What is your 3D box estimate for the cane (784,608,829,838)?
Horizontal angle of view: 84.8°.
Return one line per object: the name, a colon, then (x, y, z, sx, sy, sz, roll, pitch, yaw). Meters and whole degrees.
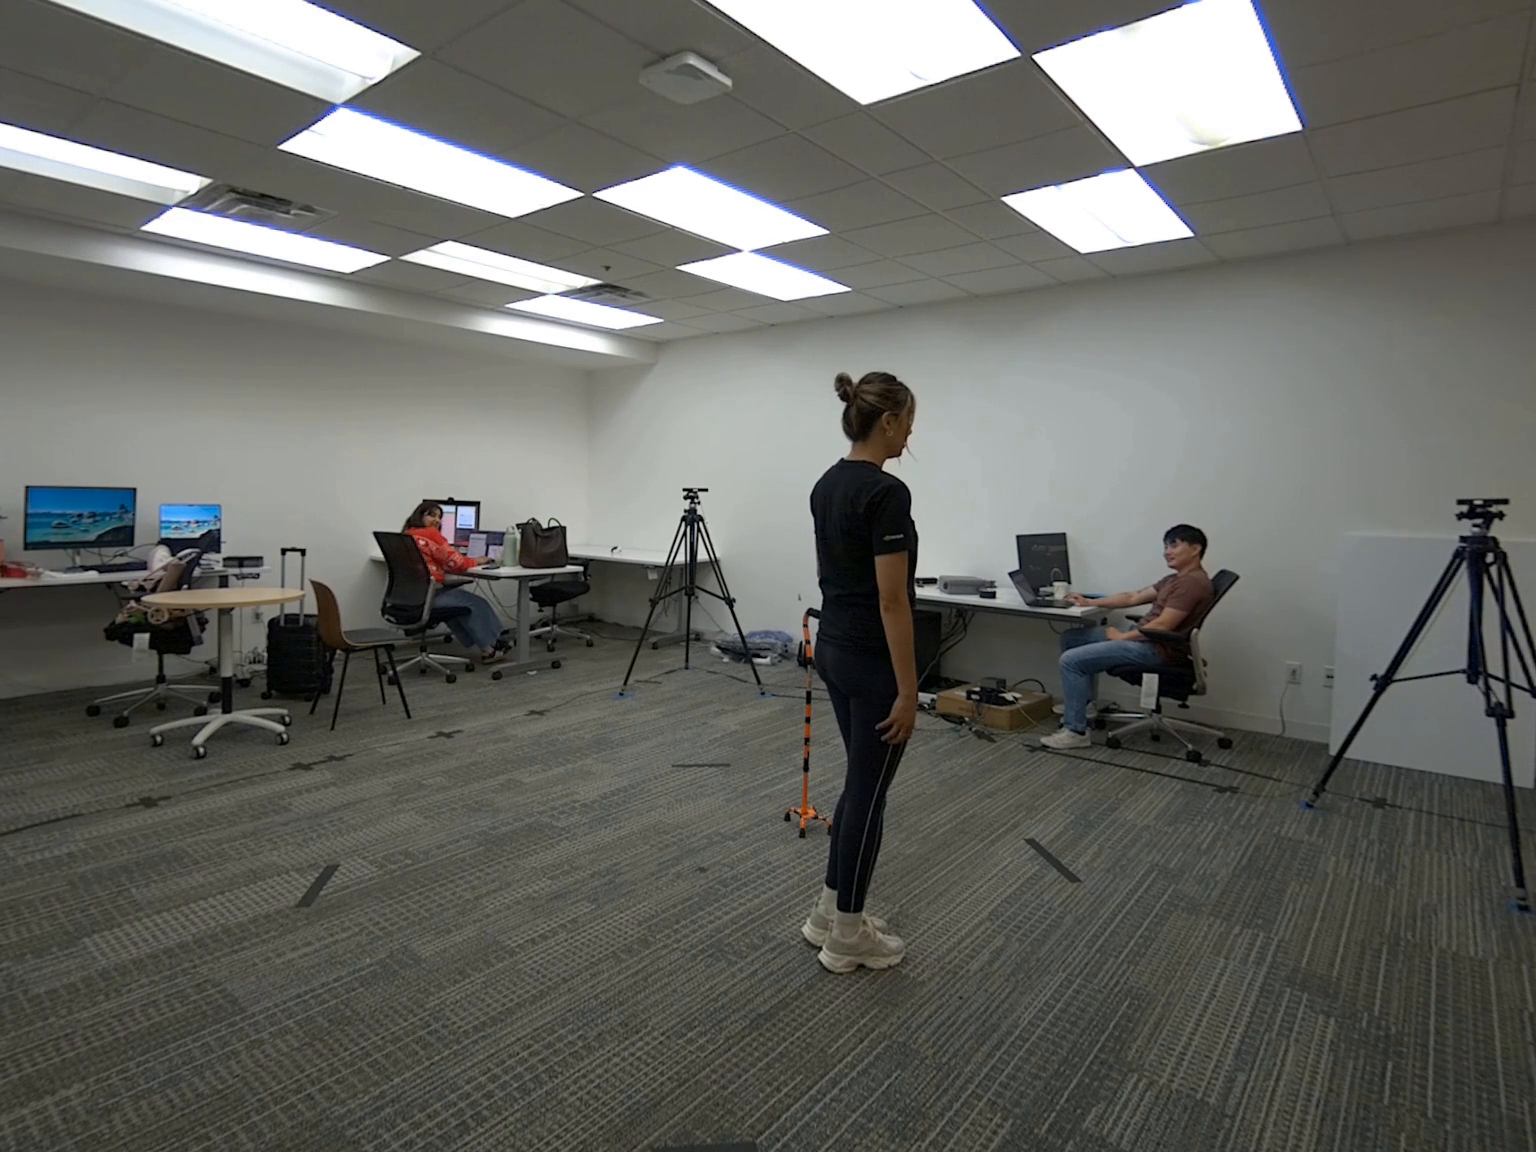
cane: (0.172, 0.584, 3.509, 0.149, 0.906, 0.210, 0, 2, -17)
